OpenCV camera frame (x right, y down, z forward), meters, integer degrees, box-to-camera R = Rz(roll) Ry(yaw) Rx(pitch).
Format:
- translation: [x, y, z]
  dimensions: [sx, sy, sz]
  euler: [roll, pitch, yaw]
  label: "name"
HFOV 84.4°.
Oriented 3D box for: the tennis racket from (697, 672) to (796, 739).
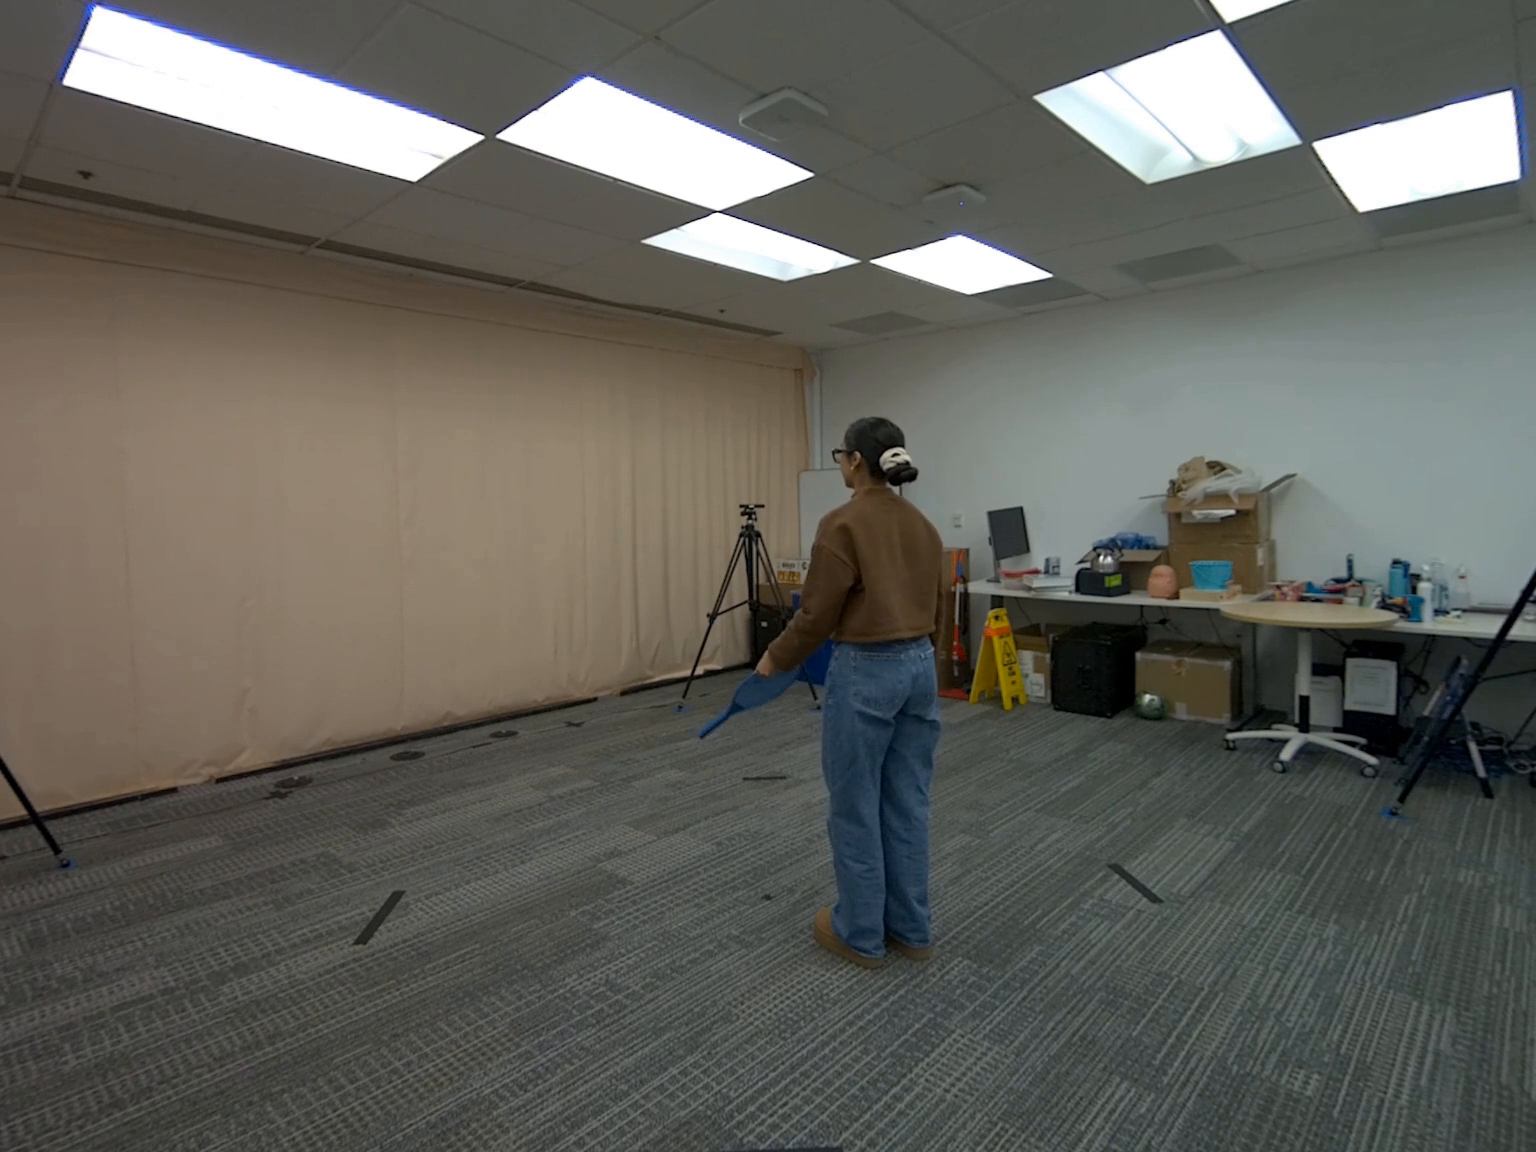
- translation: [-0.061, 0.395, 2.834]
  dimensions: [0.435, 0.033, 0.206]
  euler: [-38, -37, 10]
  label: "tennis racket"
